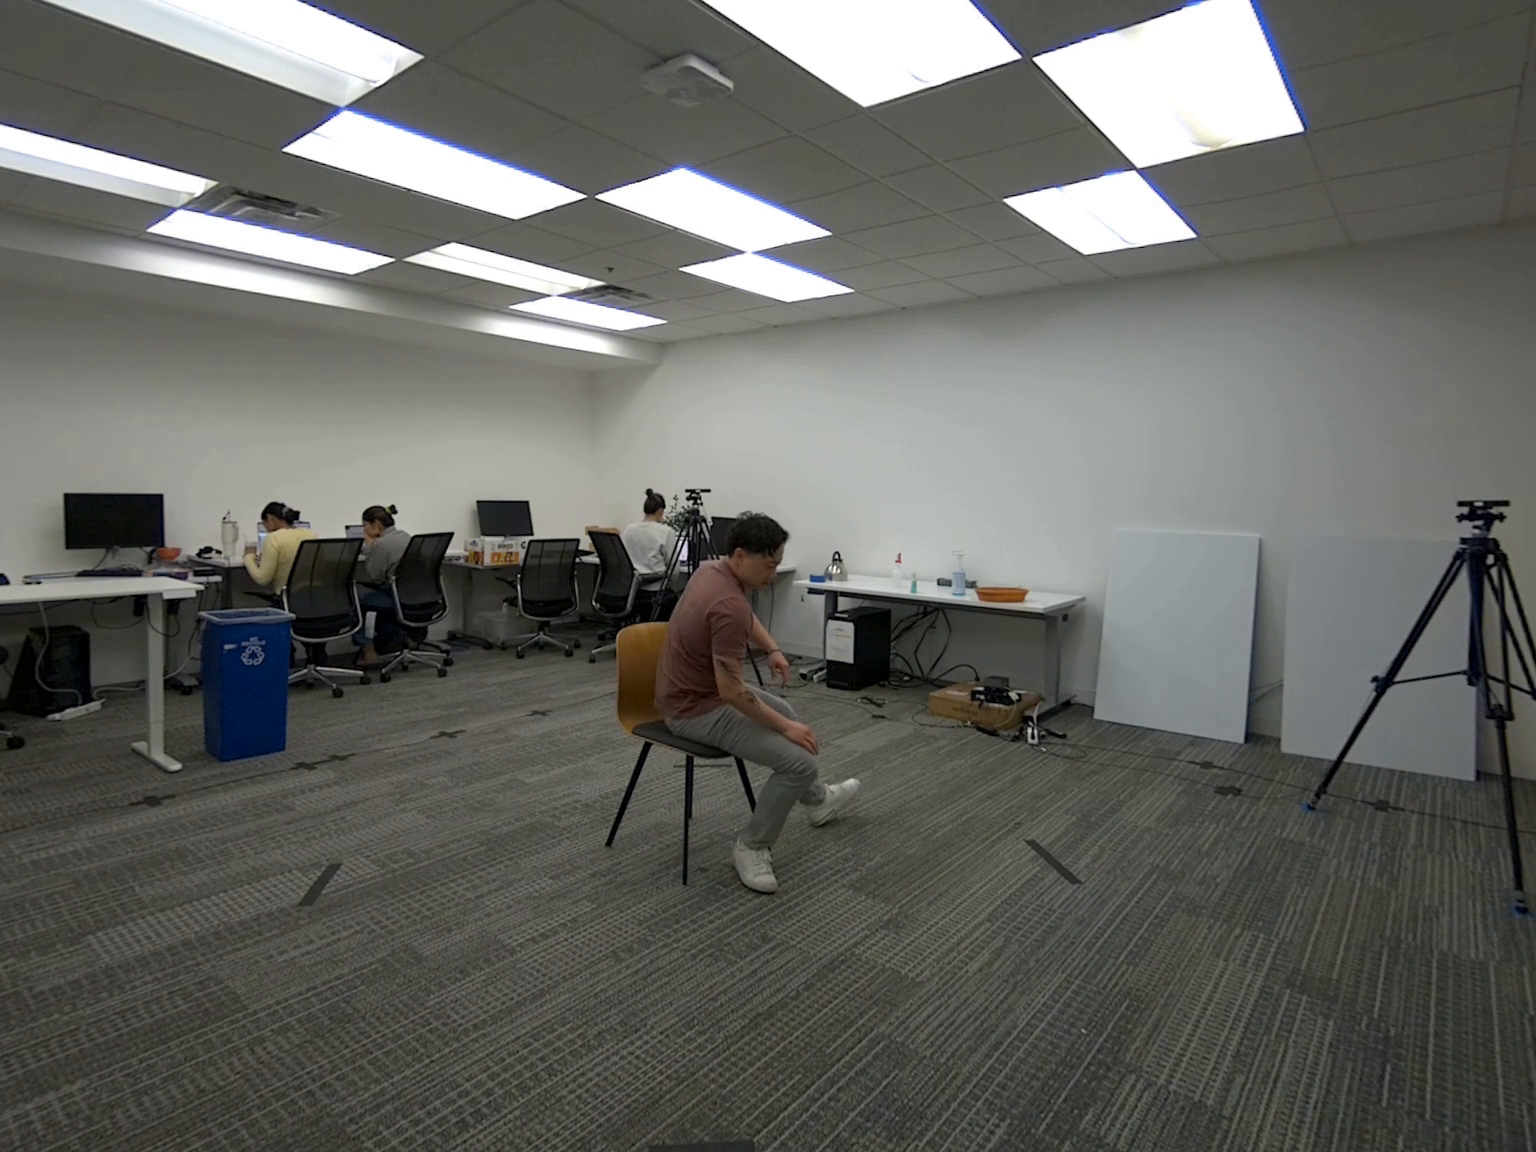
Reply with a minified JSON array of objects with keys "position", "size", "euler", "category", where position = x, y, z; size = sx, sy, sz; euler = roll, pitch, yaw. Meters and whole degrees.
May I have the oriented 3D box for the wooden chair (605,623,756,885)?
[{"position":[-0.310,0.626,3.270],"size":[0.539,0.878,0.463],"euler":[-2,0,44],"category":"wooden chair"}]
